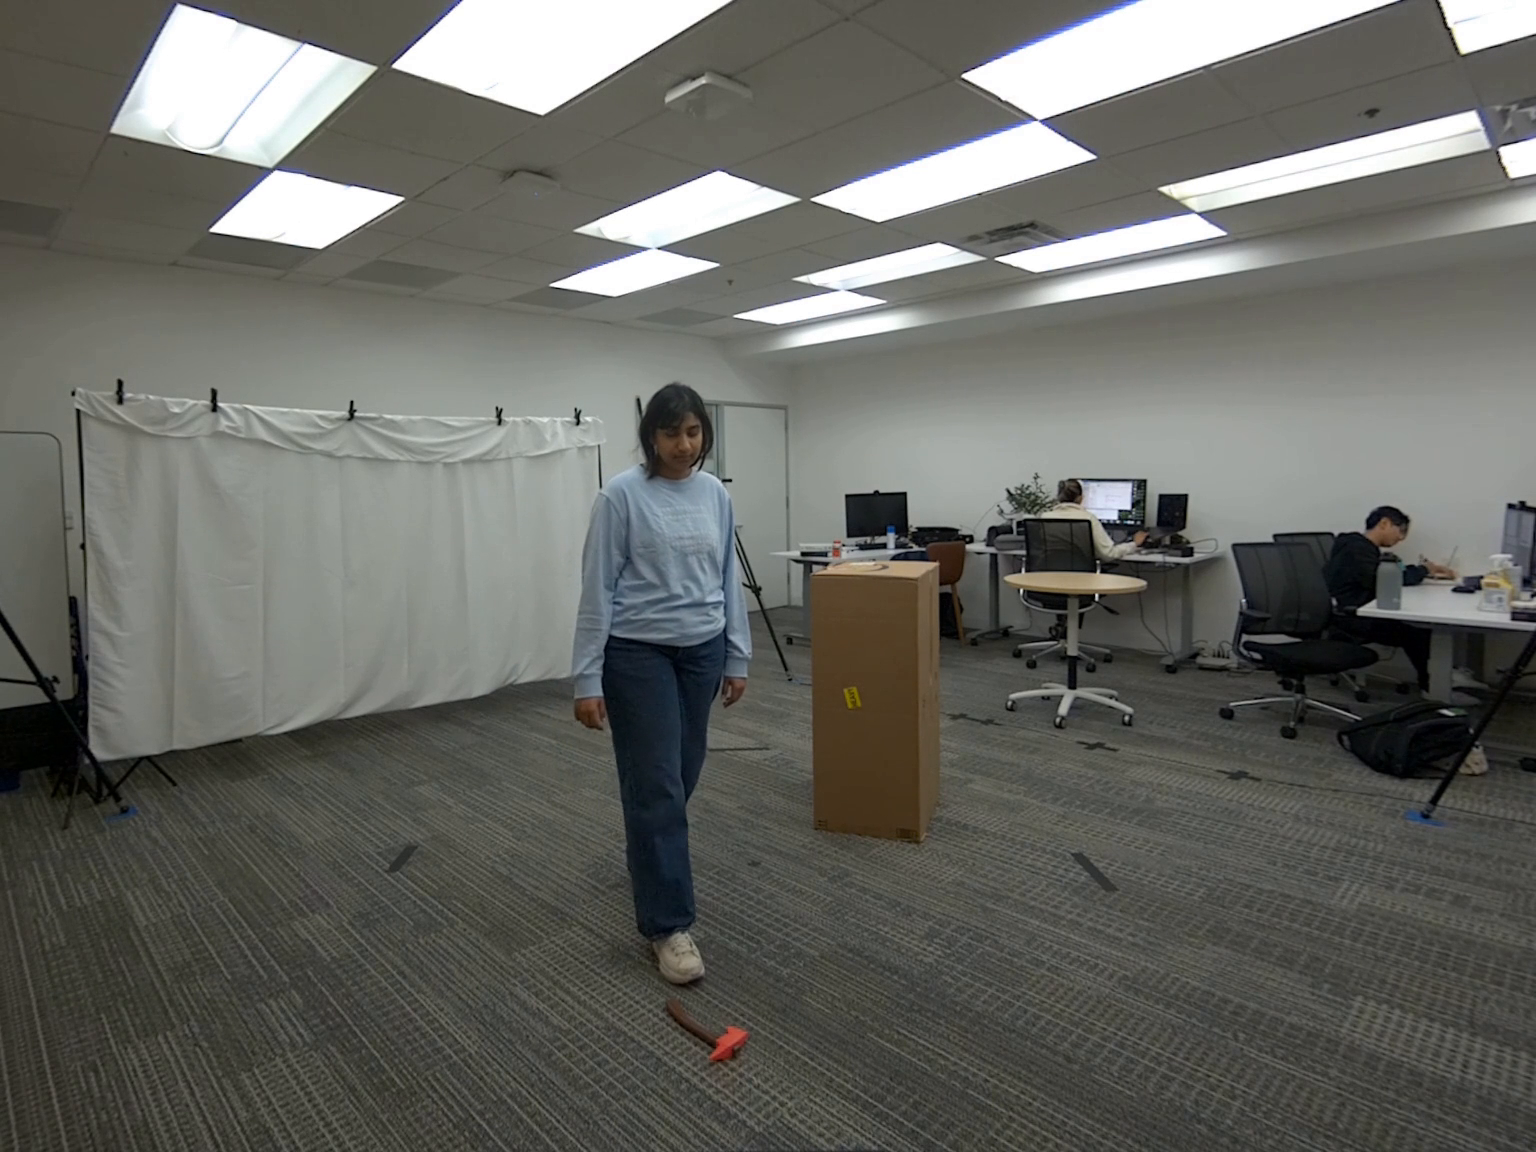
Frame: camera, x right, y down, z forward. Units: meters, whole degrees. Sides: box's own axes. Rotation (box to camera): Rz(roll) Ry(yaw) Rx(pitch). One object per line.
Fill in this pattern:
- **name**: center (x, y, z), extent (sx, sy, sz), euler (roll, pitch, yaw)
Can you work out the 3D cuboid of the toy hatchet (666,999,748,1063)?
- **toy hatchet**: center (-0.145, 1.153, 2.178), extent (0.128, 0.029, 0.277), euler (-7, 7, -30)
